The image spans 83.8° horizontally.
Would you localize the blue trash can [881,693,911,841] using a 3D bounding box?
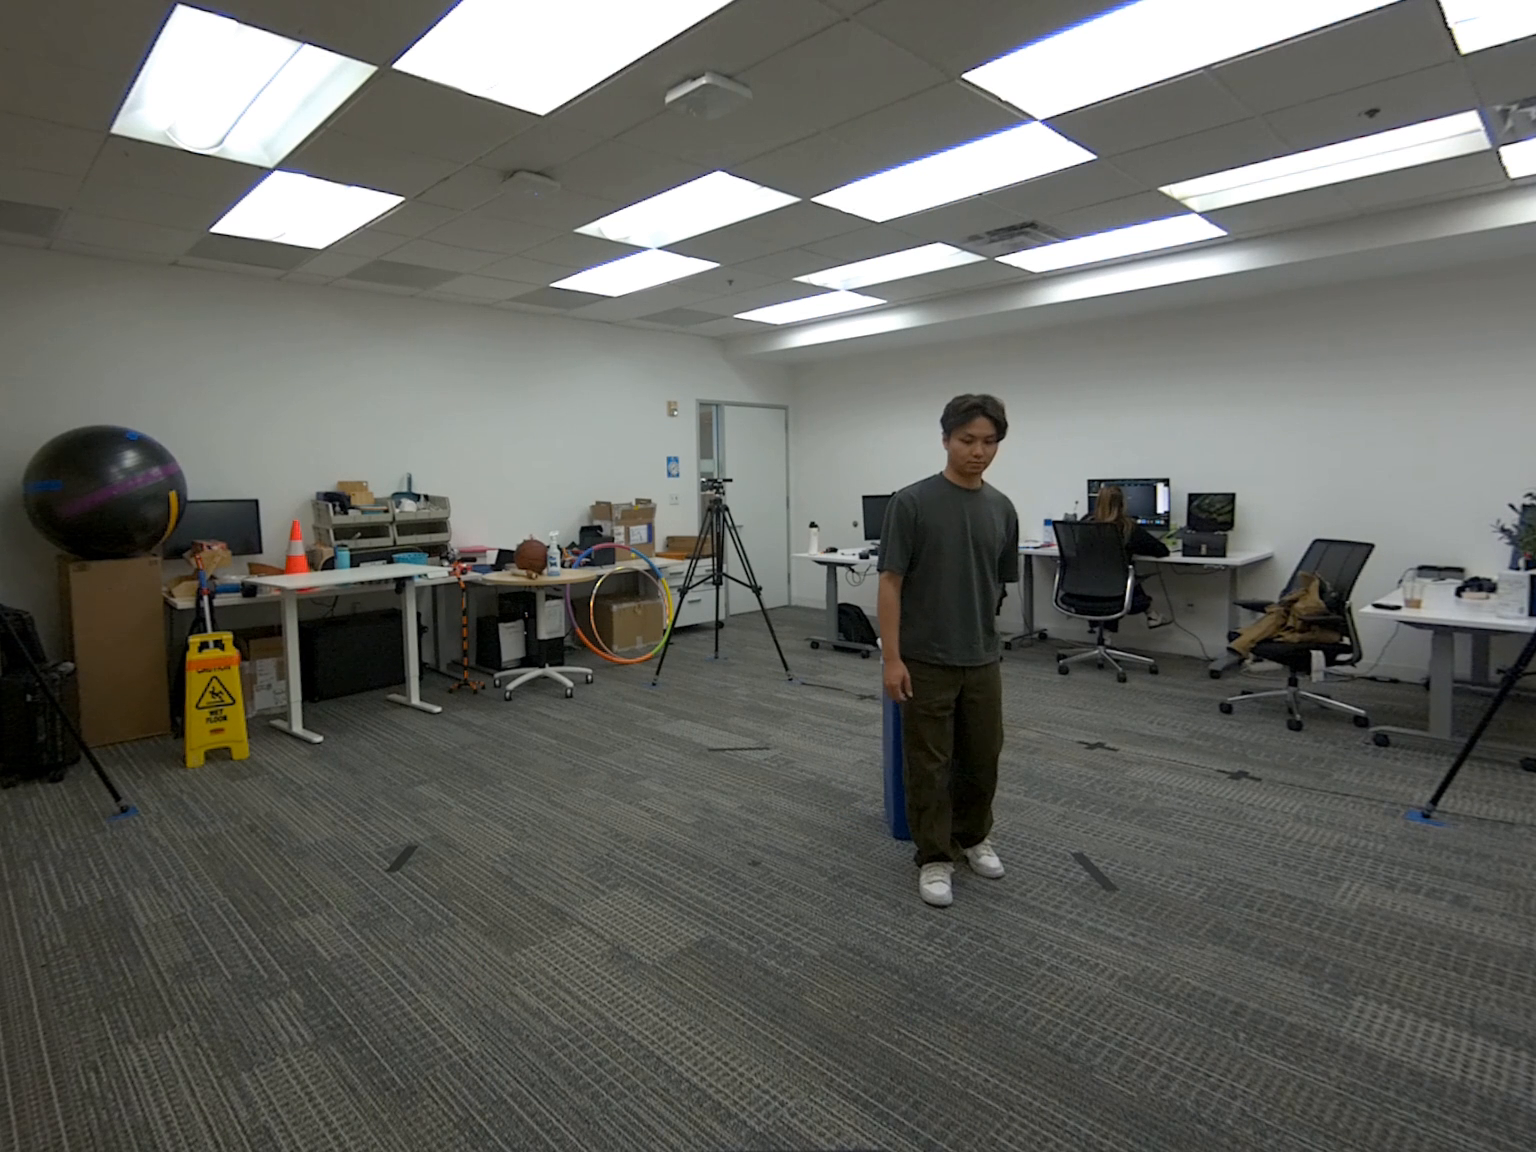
[{"bbox_3d":[0.649,0.640,3.383,0.375,0.709,0.380,-1,7,2],"label":"blue trash can"}]
